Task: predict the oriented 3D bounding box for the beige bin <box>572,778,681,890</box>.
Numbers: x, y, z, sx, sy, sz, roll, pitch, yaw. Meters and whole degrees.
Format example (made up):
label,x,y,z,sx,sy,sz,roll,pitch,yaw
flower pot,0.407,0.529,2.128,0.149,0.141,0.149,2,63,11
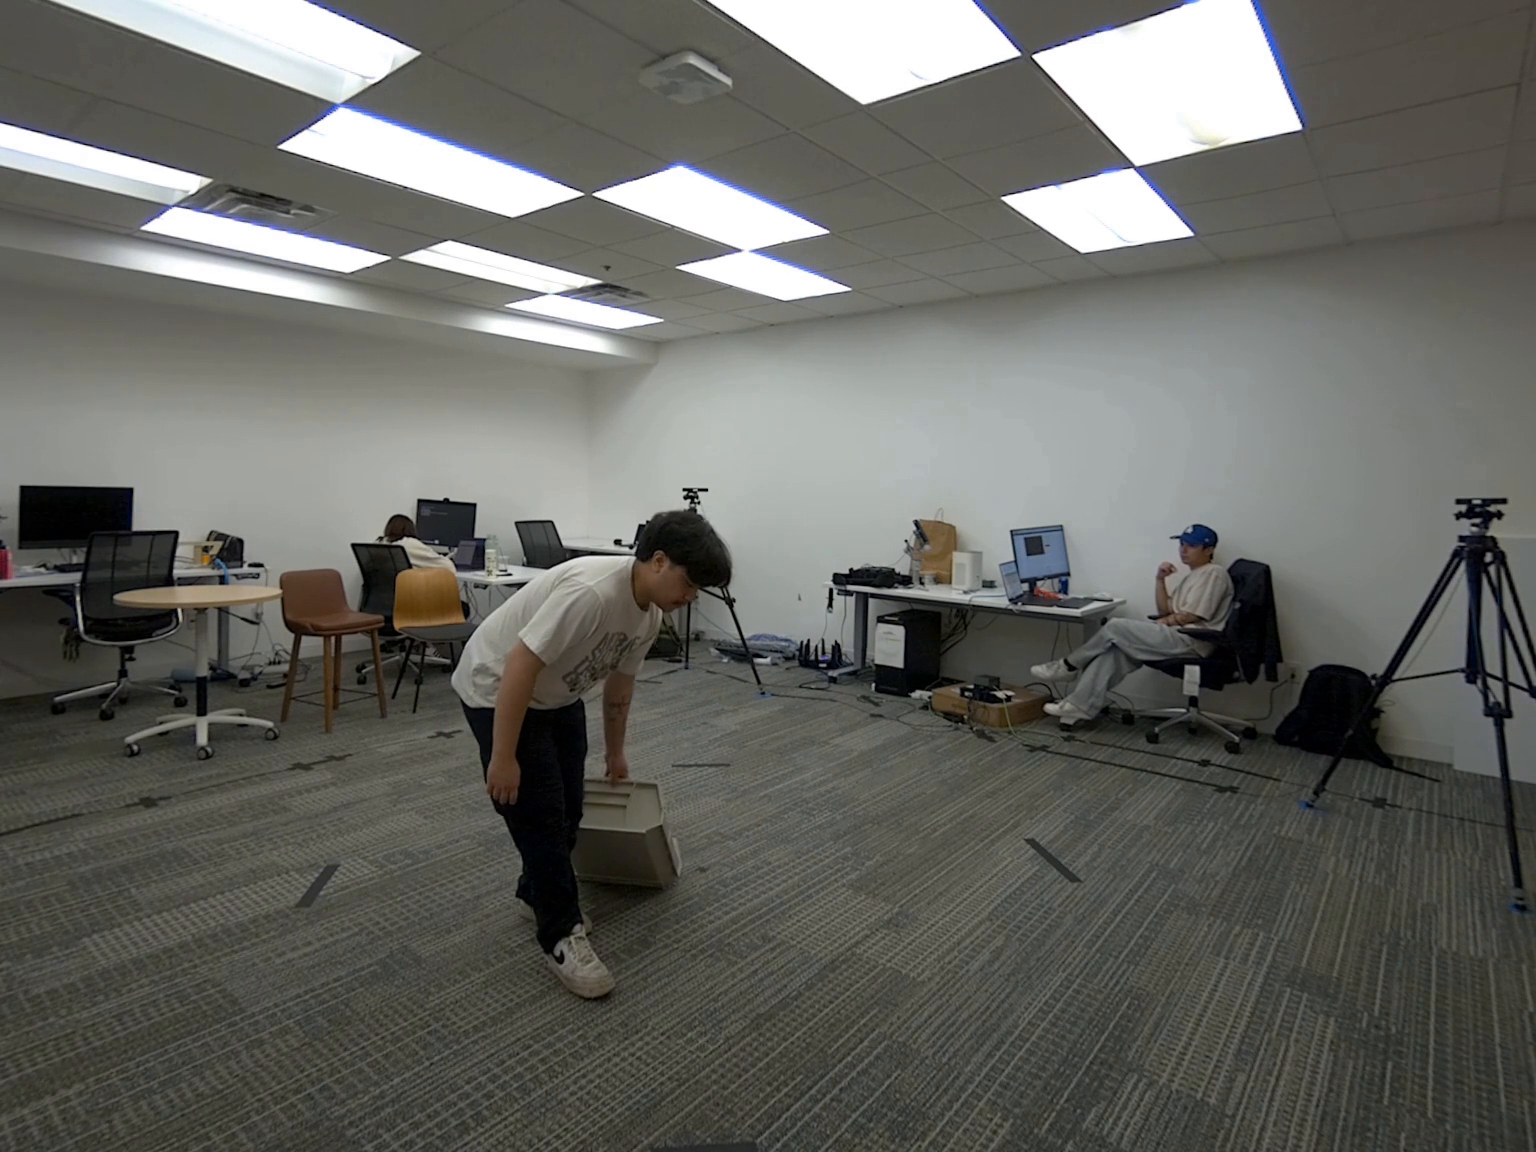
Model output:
label,x,y,z,sx,sy,sz,roll,pitch,yaw
beige bin,-0.516,0.876,2.897,0.381,0.193,0.409,2,-42,8
